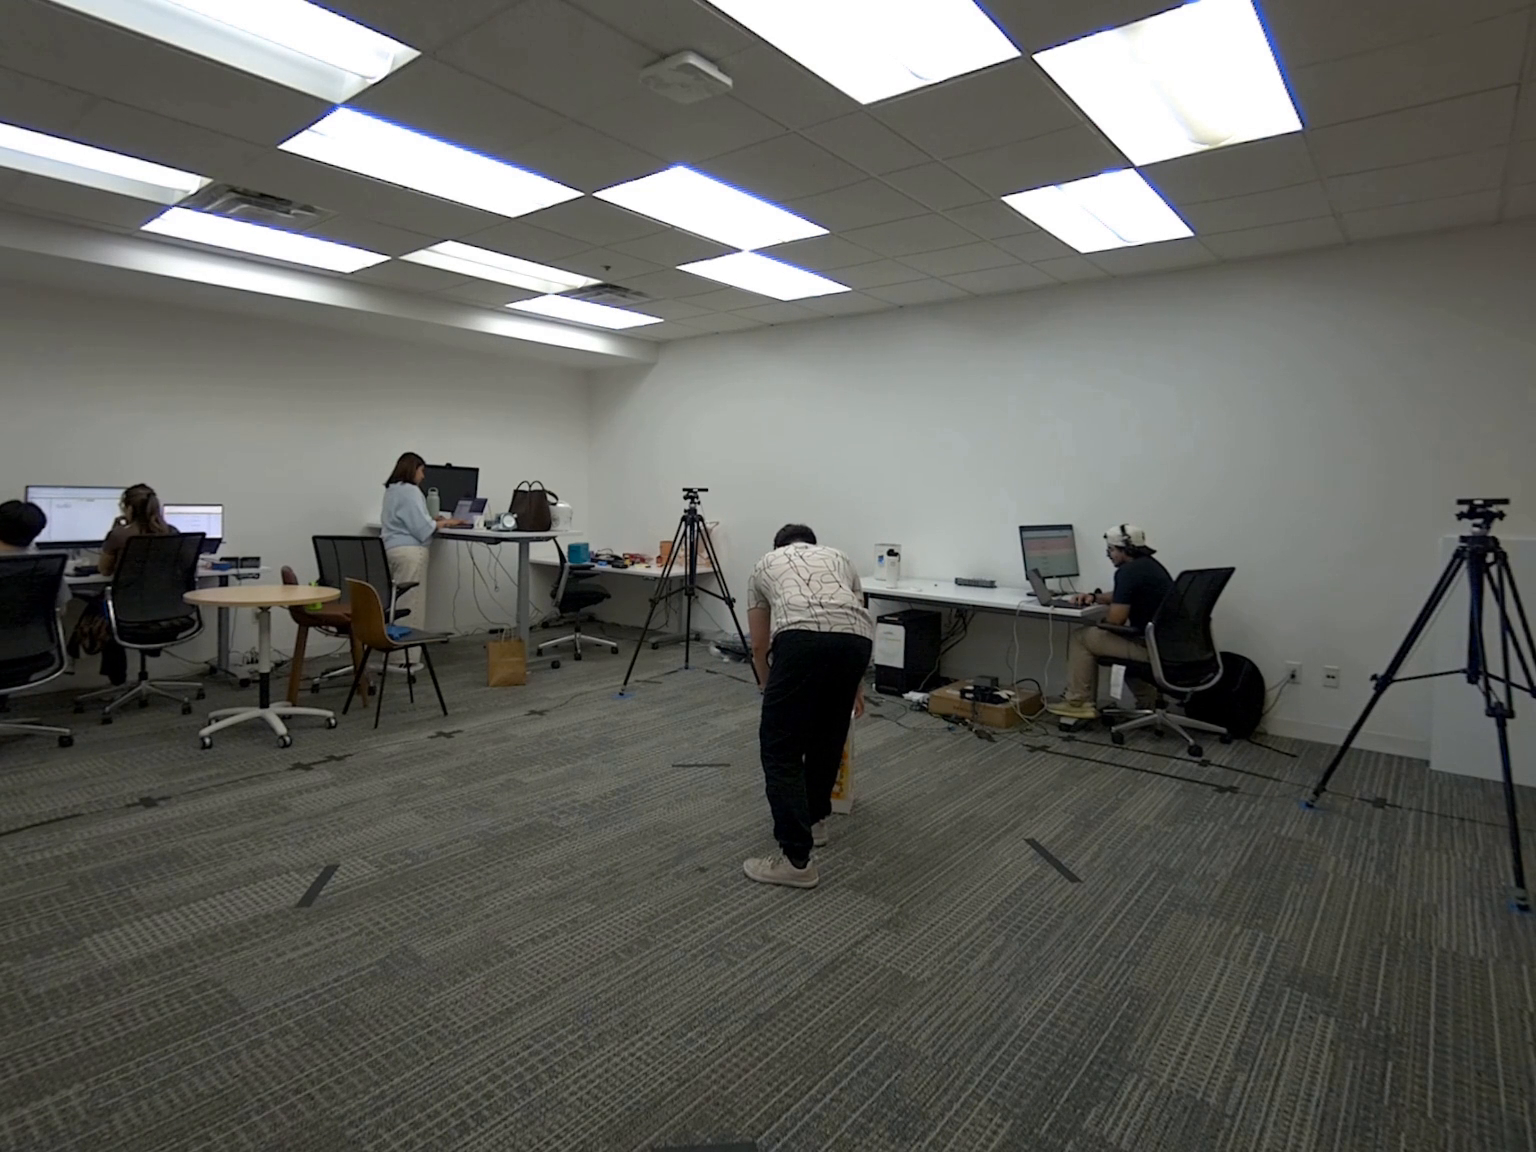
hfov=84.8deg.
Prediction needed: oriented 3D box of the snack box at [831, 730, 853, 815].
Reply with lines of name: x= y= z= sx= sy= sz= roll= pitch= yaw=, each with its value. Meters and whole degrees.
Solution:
snack box: x=0.201 y=0.802 z=3.796 sx=0.346 sy=0.404 sz=0.203 roll=2 pitch=4 yaw=14
